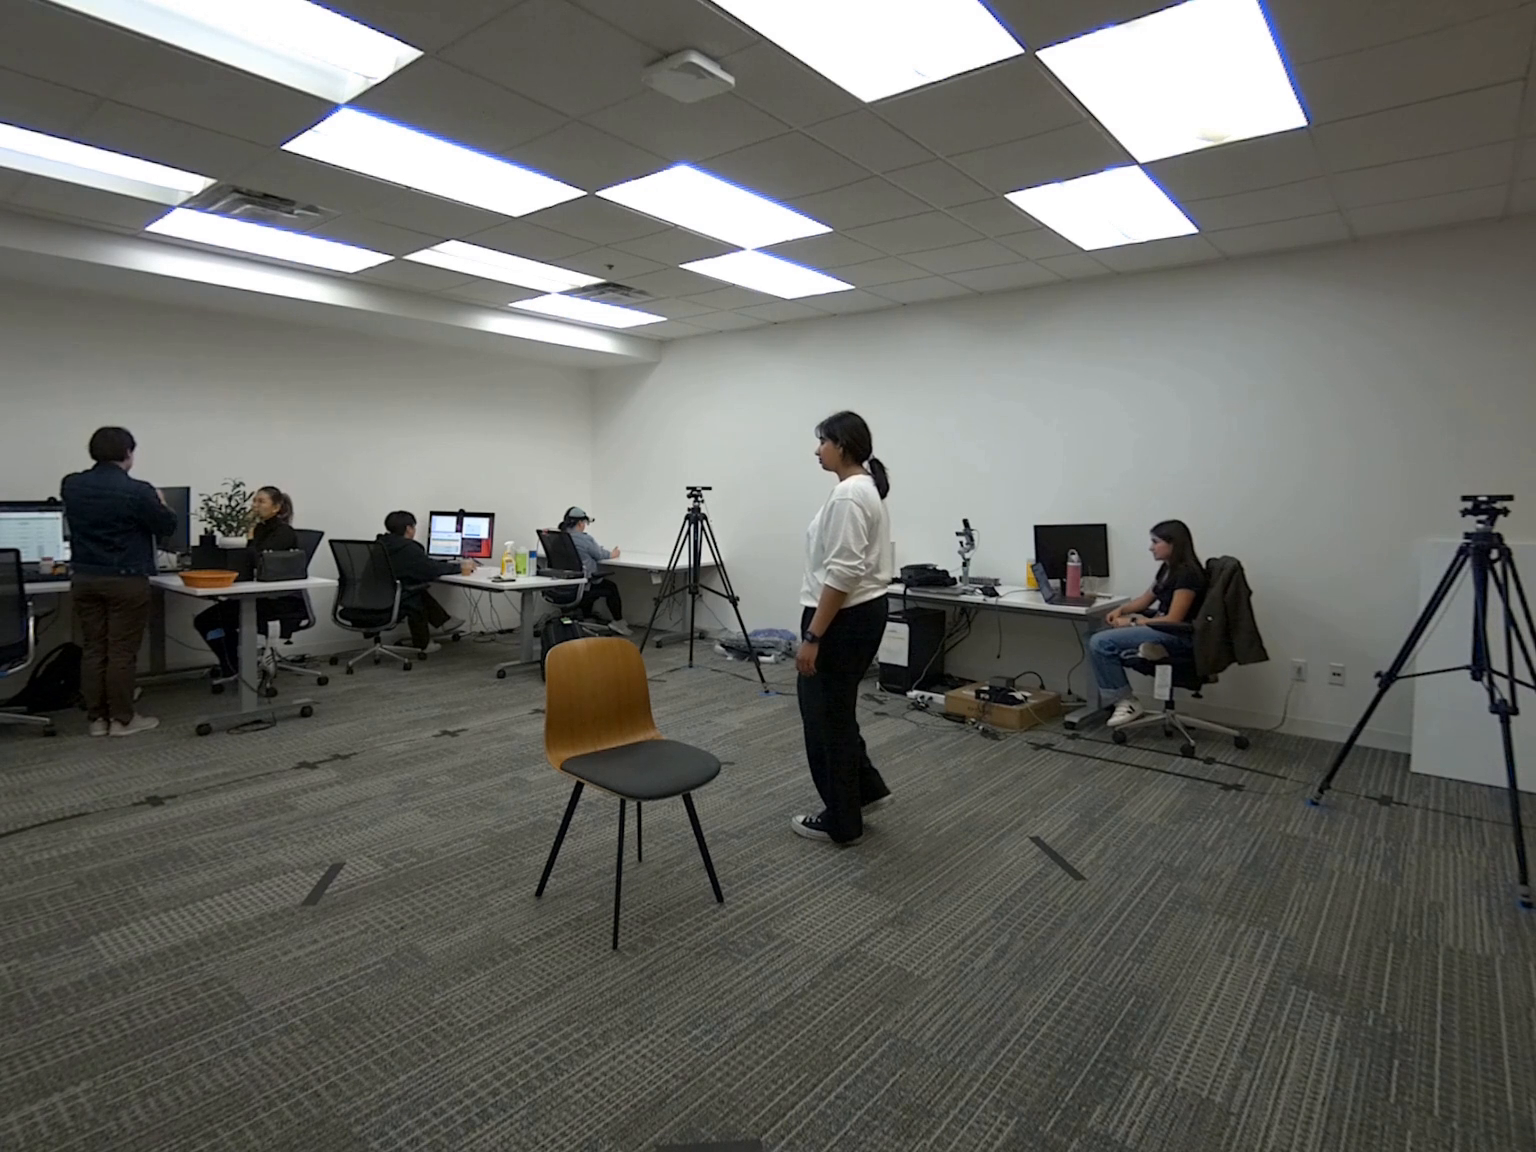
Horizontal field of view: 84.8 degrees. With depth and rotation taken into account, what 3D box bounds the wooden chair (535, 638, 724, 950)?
[{"bbox_3d":[-0.453,0.661,2.826,0.463,0.878,0.539,-2,0,-45],"label":"wooden chair"}]
